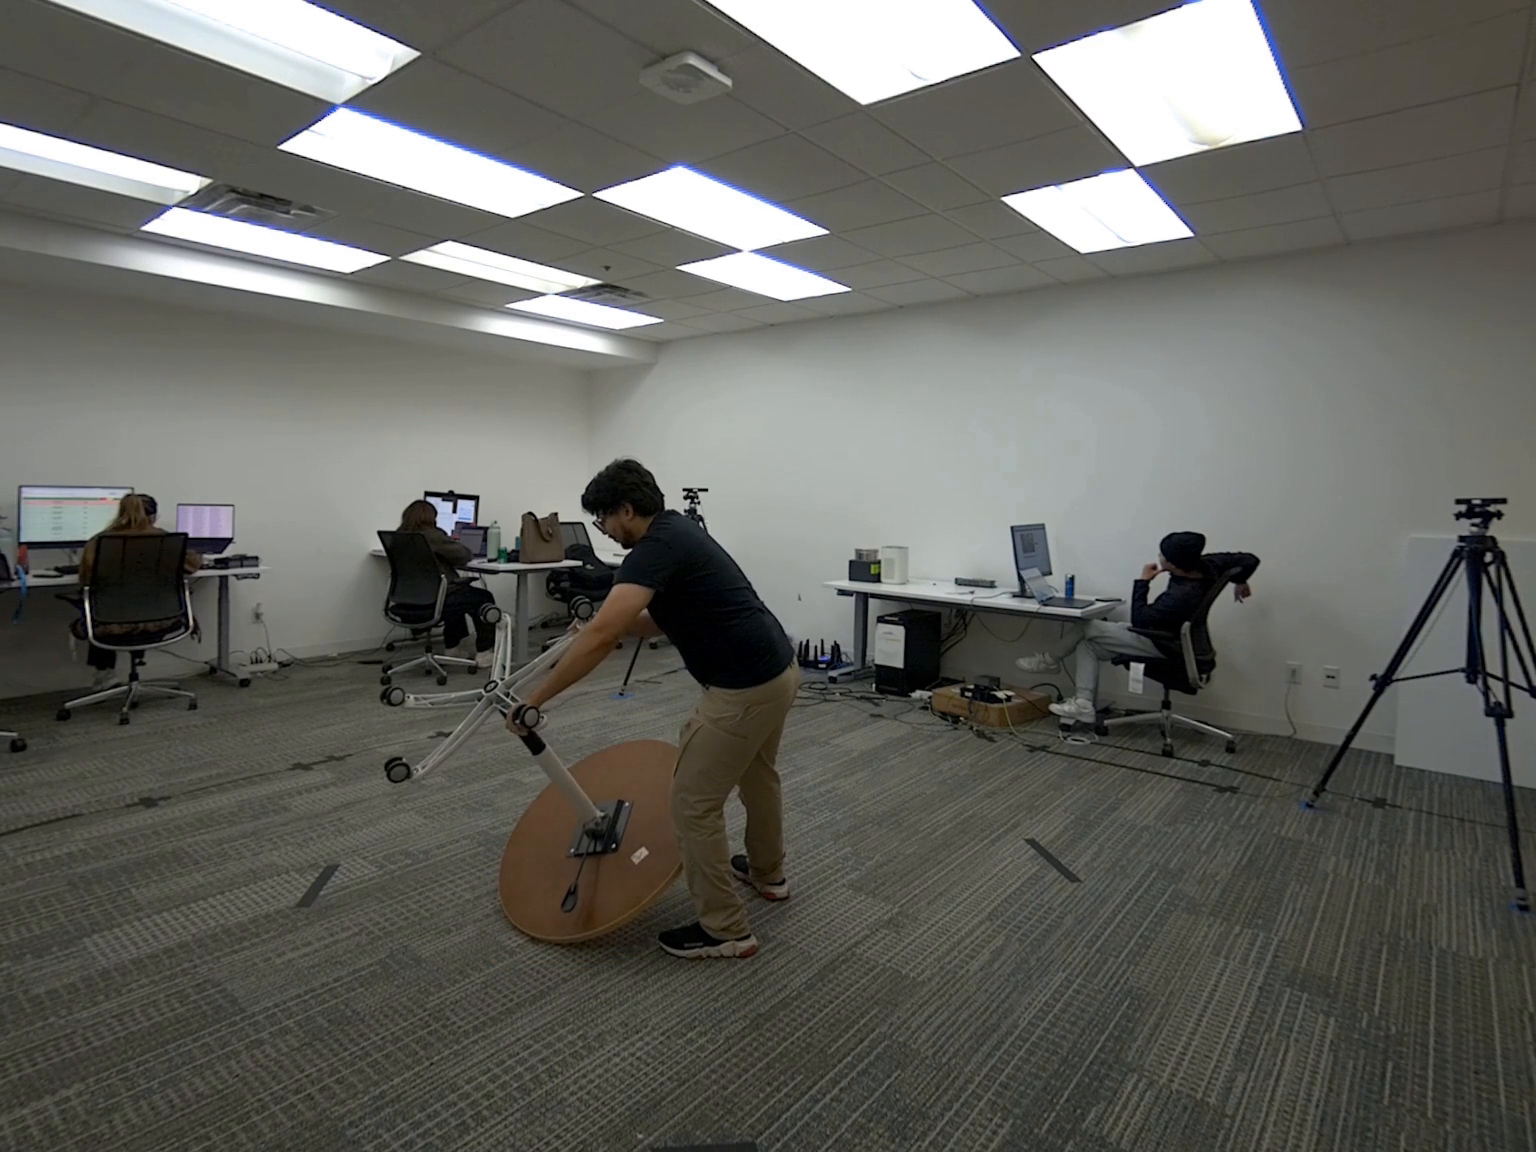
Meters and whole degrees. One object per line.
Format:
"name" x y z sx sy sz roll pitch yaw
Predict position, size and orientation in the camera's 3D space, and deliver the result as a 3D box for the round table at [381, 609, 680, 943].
"round table" -0.719 0.565 2.668 0.791 0.760 0.806 -20 31 11
